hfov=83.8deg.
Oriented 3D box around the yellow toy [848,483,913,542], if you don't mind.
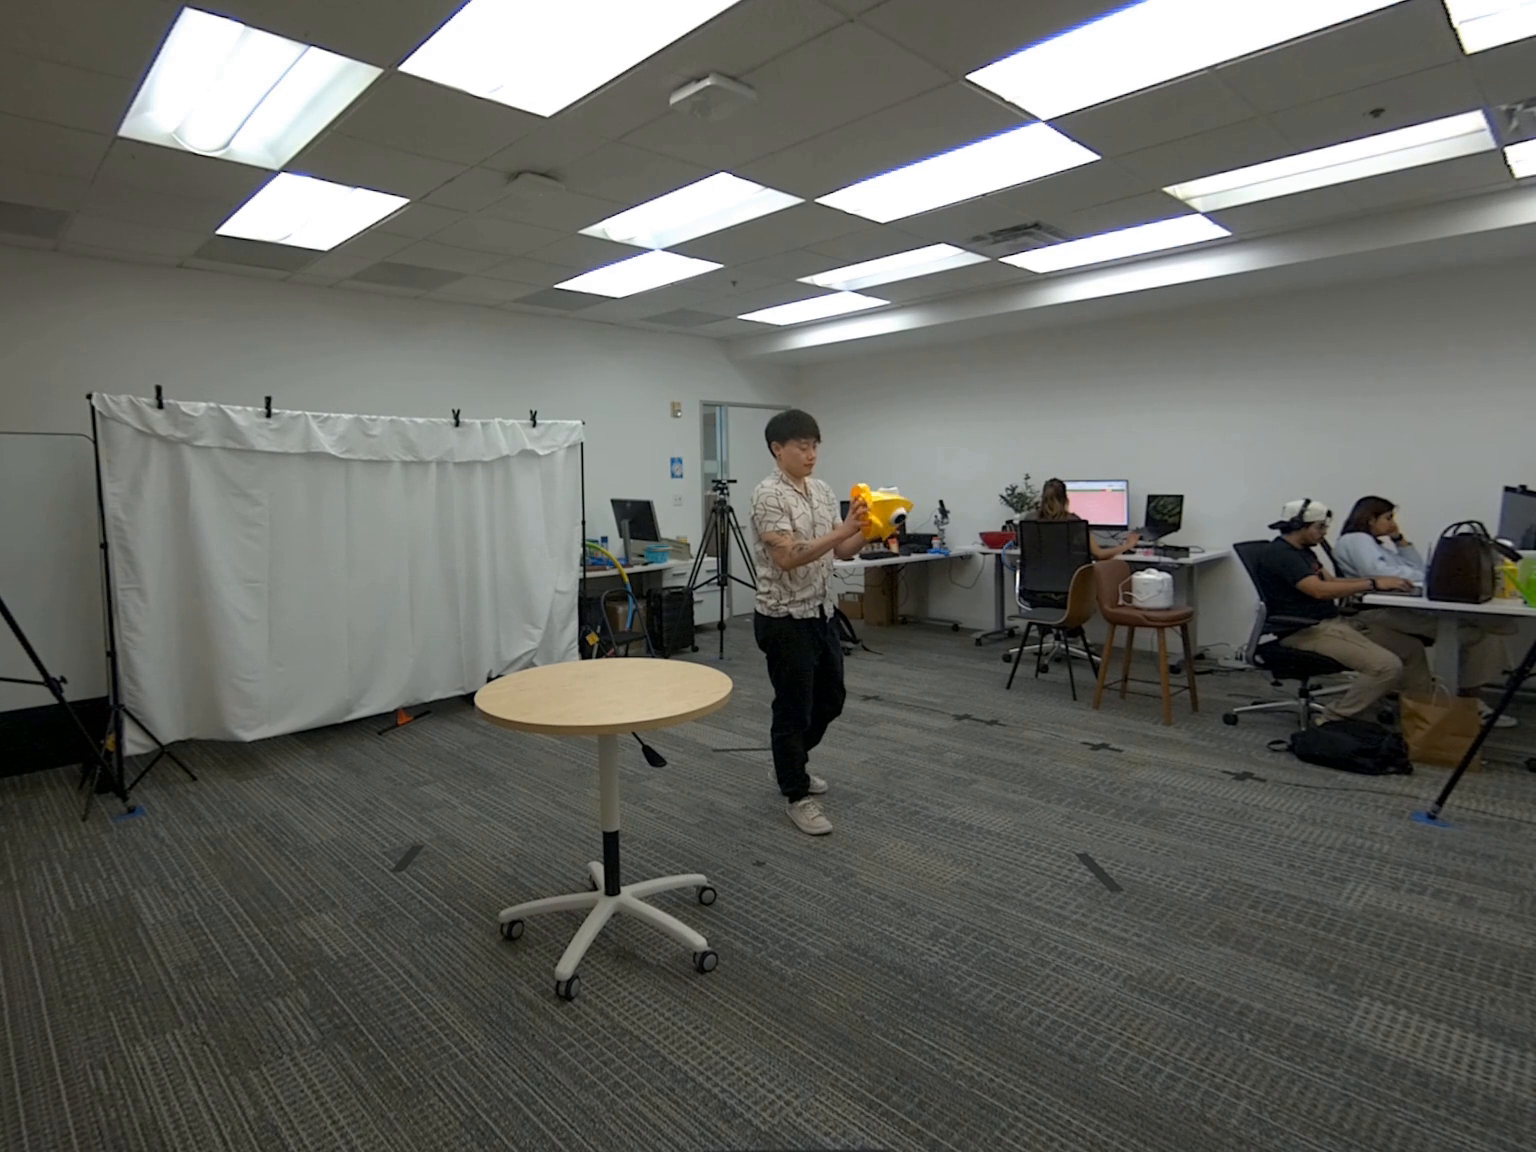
[{"bbox_3d":[0.448,-0.262,3.176,0.229,0.209,0.190,-15,-18,-10],"label":"yellow toy"}]
